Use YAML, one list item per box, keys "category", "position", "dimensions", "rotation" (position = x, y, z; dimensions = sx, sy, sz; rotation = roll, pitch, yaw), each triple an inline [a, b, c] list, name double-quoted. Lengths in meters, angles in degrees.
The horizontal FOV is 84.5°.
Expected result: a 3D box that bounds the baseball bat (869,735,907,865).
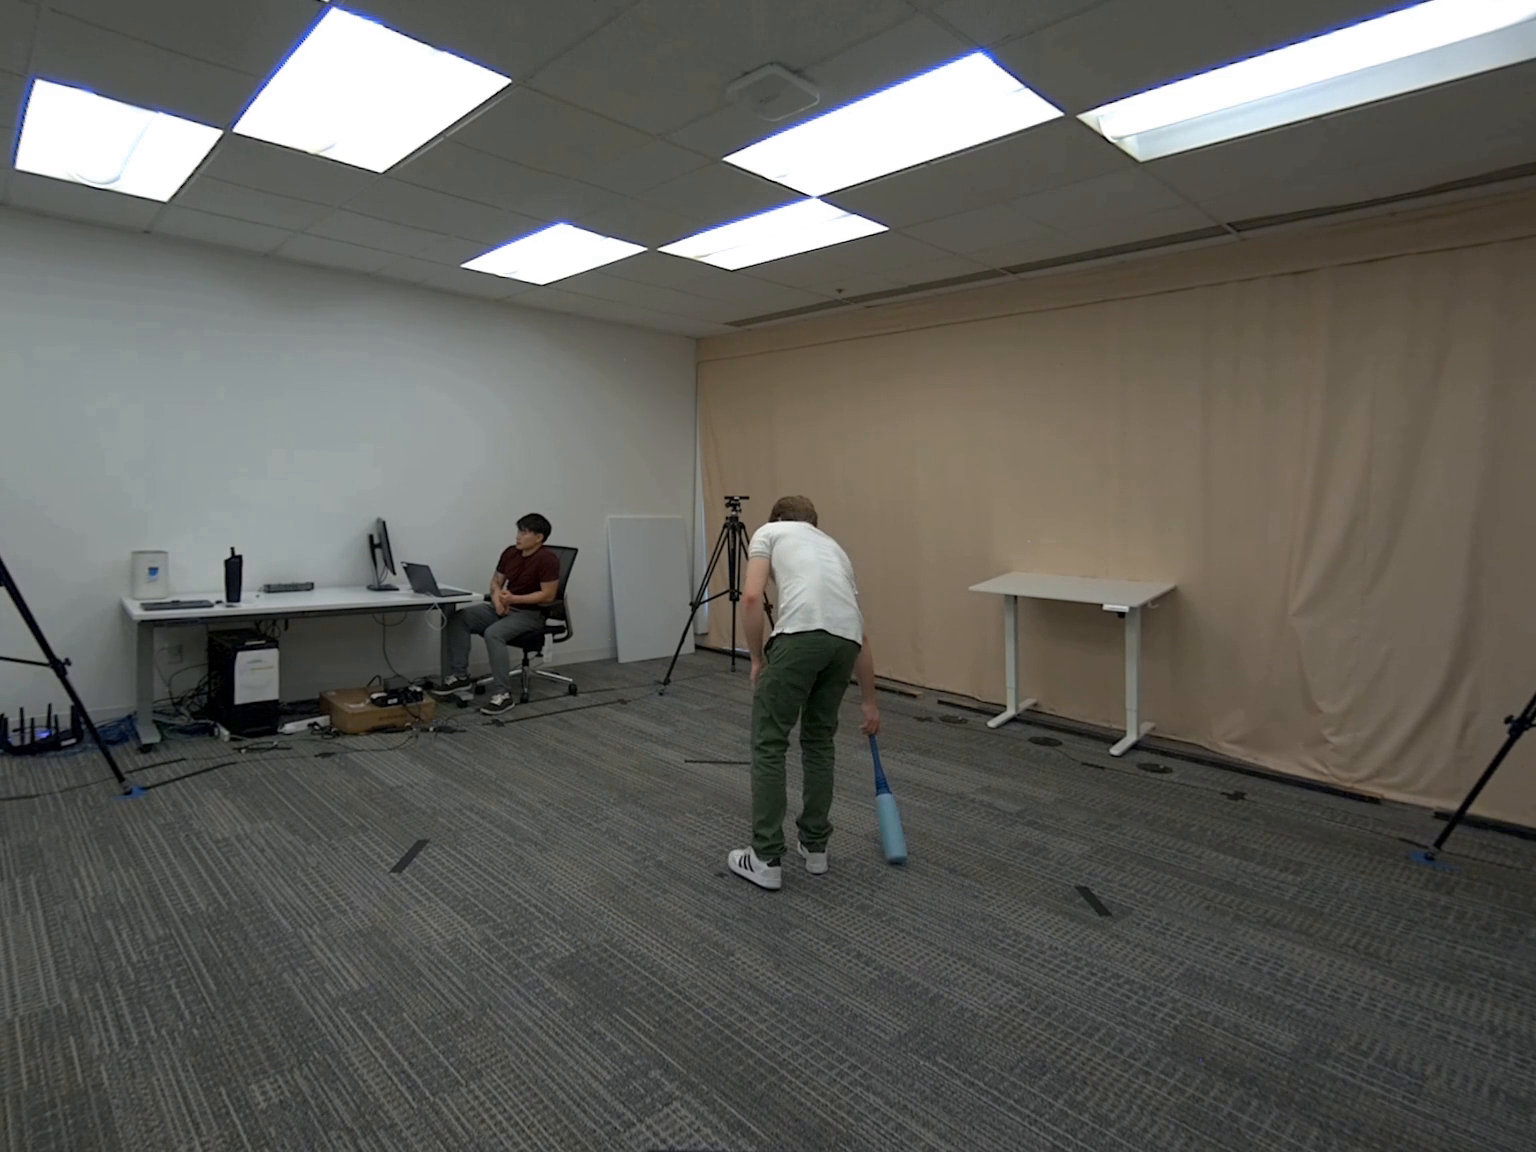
- category: "baseball bat"
  position: [0.445, 0.864, 3.364]
  dimensions: [0.089, 0.555, 0.087]
  rotation: [-4, -33, -4]
